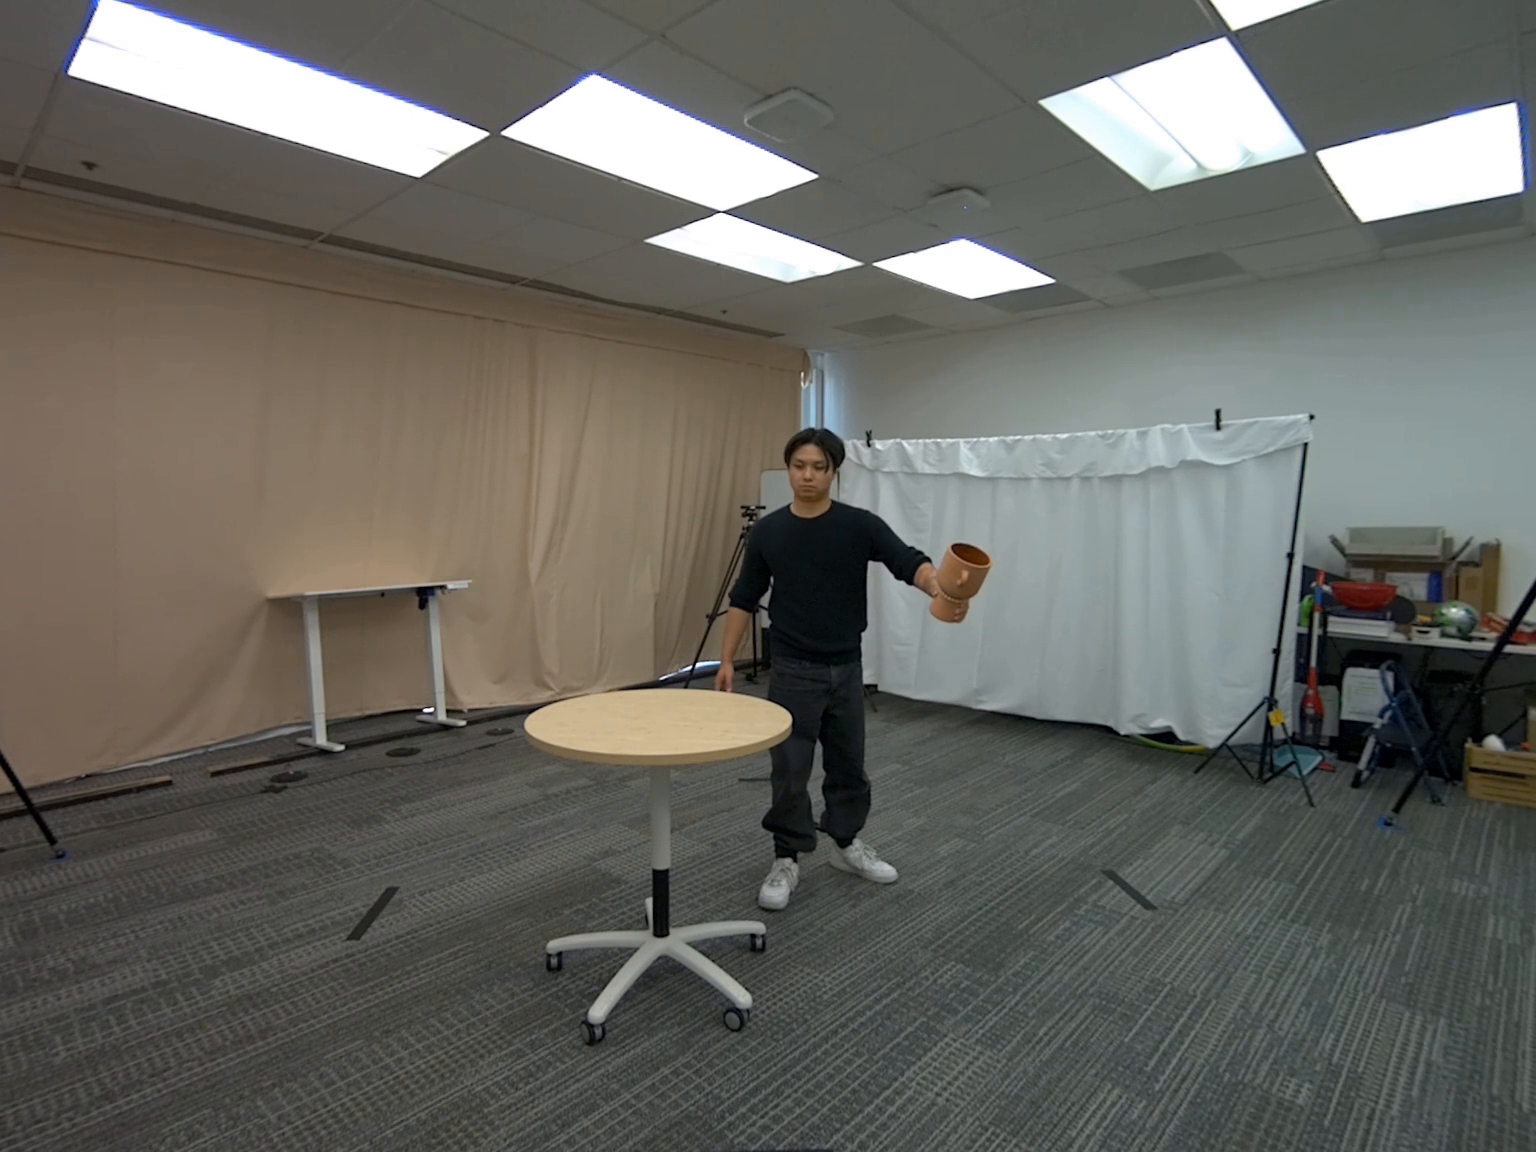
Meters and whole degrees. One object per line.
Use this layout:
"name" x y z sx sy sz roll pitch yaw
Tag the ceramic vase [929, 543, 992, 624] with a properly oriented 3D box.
"ceramic vase" 0.560 0.022 2.517 0.154 0.218 0.139 -9 39 -36
